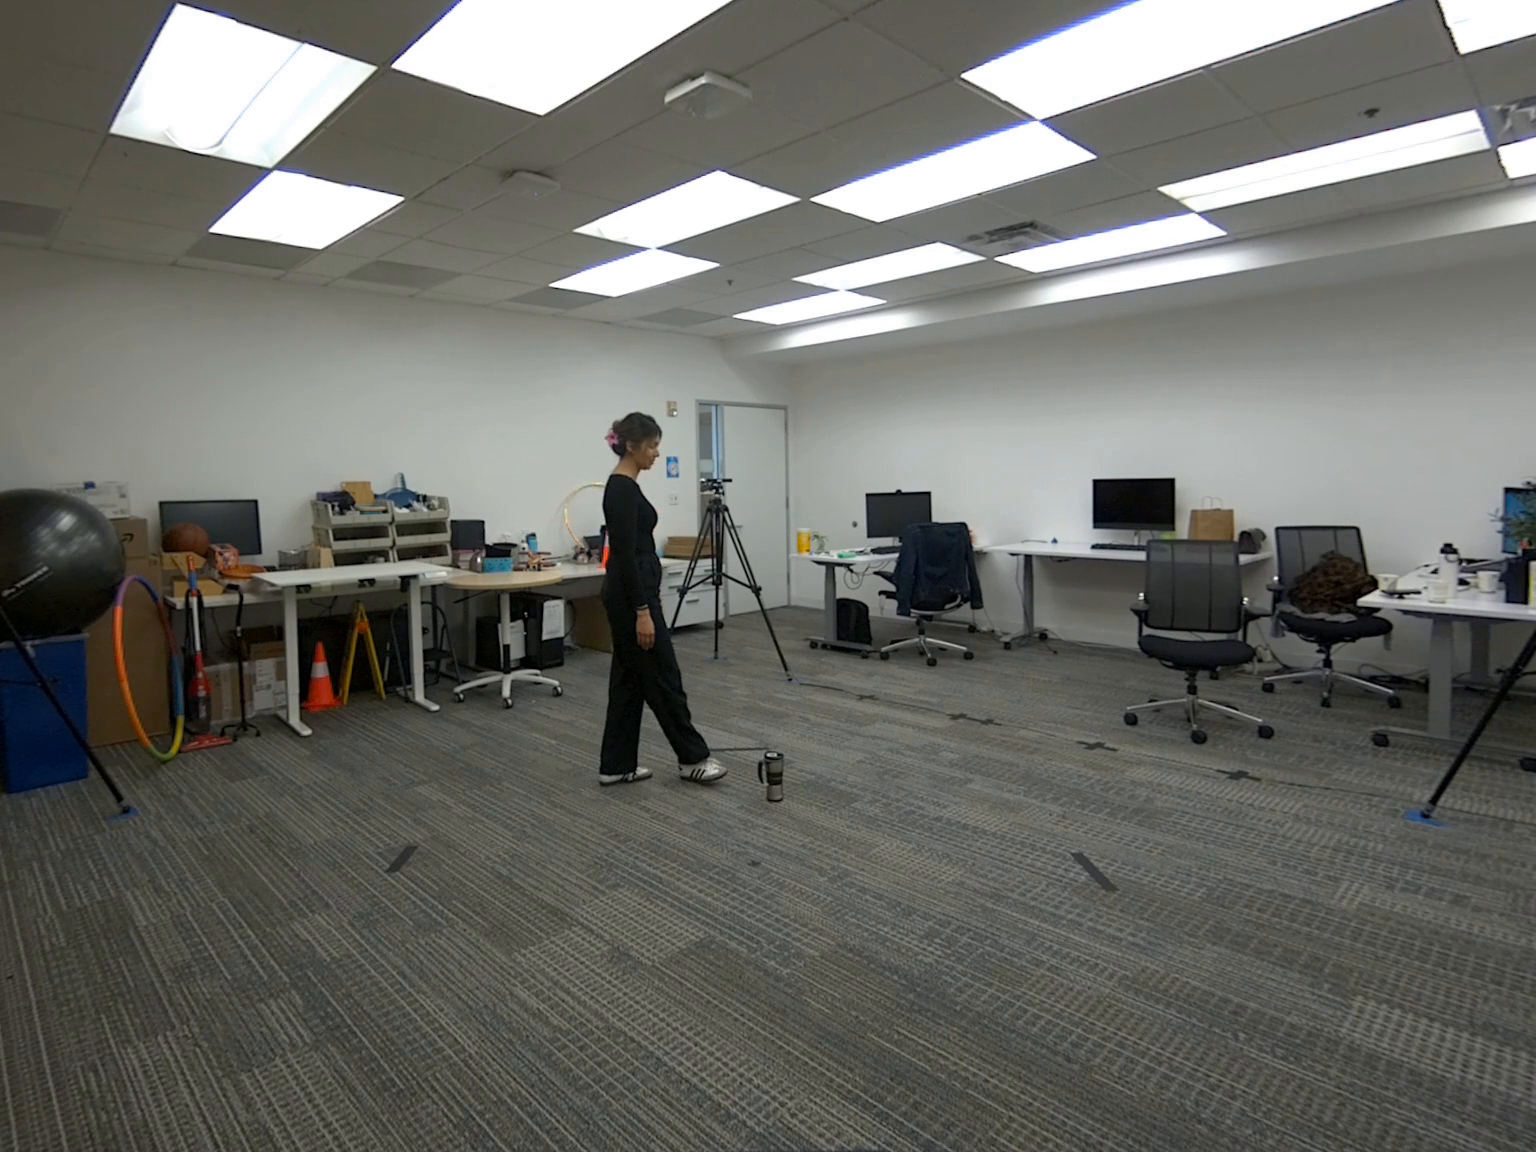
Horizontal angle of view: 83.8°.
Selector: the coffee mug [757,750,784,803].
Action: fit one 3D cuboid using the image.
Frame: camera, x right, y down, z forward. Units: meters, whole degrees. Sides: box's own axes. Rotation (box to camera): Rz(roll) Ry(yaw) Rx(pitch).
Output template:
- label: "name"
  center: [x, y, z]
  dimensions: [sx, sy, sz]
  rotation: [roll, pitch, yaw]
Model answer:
- label: "coffee mug"
  center: [0.005, 0.876, 3.721]
  dimensions: [0.121, 0.202, 0.089]
  rotation: [0, 5, -11]
